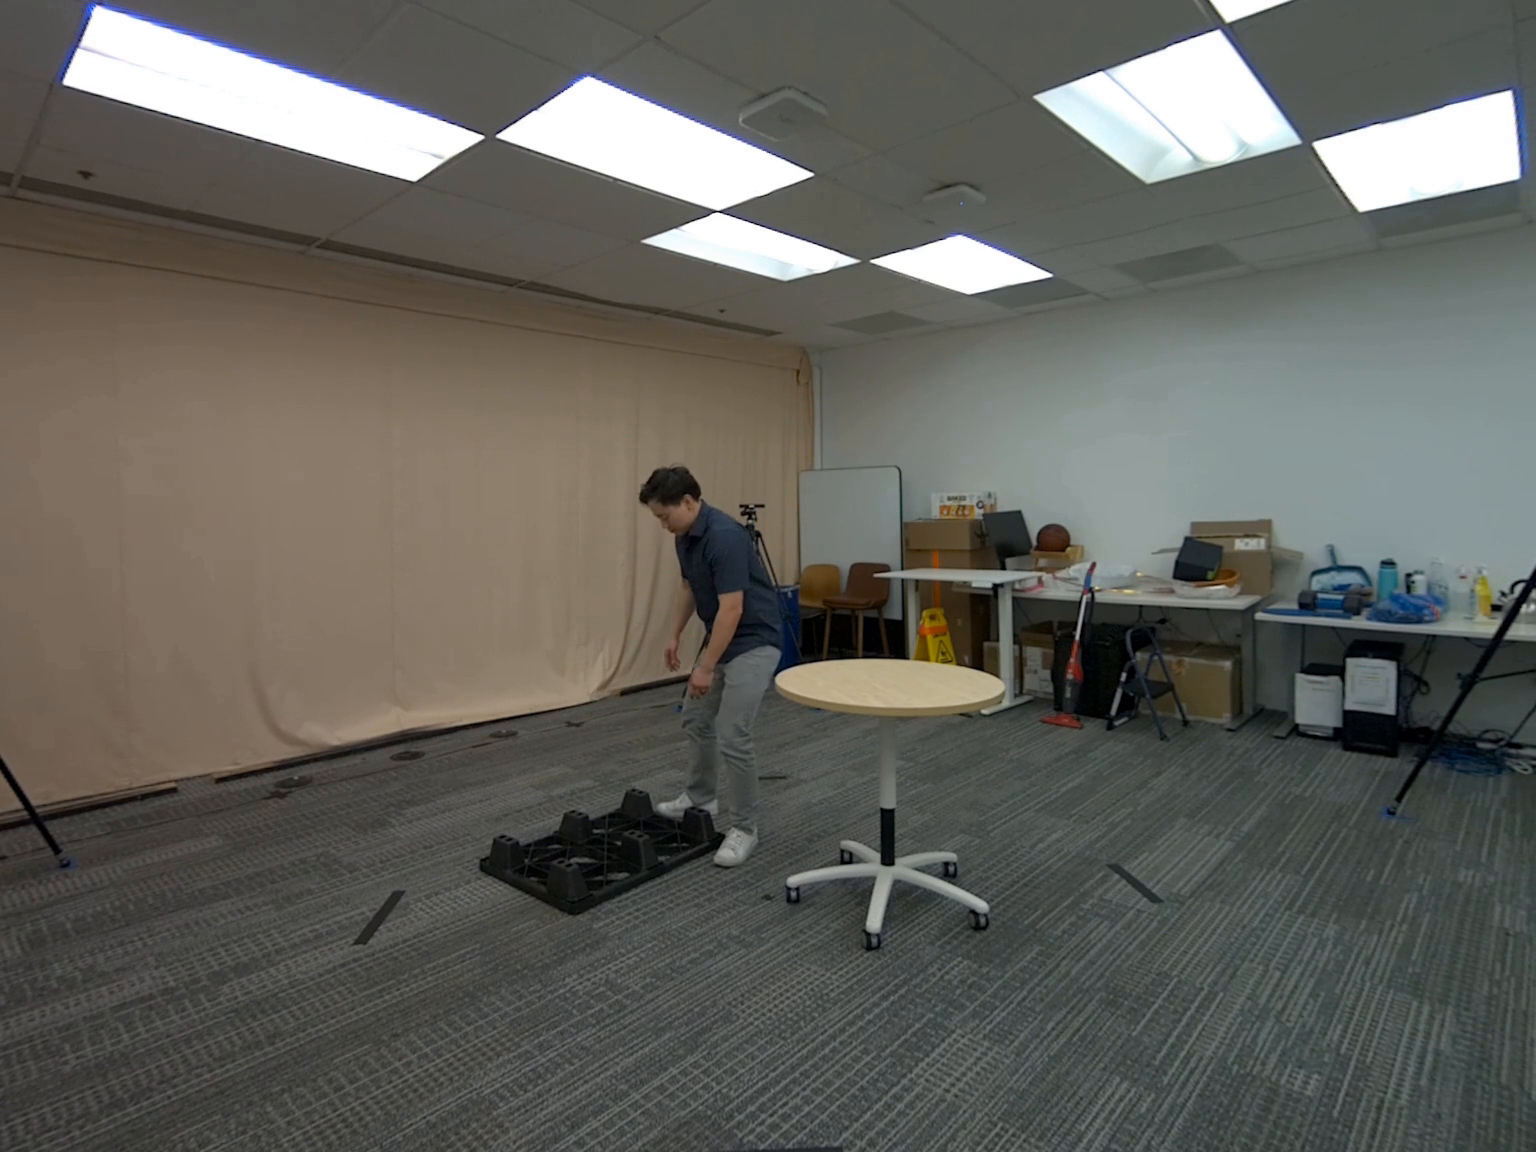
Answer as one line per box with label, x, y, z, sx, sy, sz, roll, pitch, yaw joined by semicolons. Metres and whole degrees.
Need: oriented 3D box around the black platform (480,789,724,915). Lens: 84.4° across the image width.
black platform;-0.649;1.056;3.367;0.625;0.143;0.781;3;6;40
